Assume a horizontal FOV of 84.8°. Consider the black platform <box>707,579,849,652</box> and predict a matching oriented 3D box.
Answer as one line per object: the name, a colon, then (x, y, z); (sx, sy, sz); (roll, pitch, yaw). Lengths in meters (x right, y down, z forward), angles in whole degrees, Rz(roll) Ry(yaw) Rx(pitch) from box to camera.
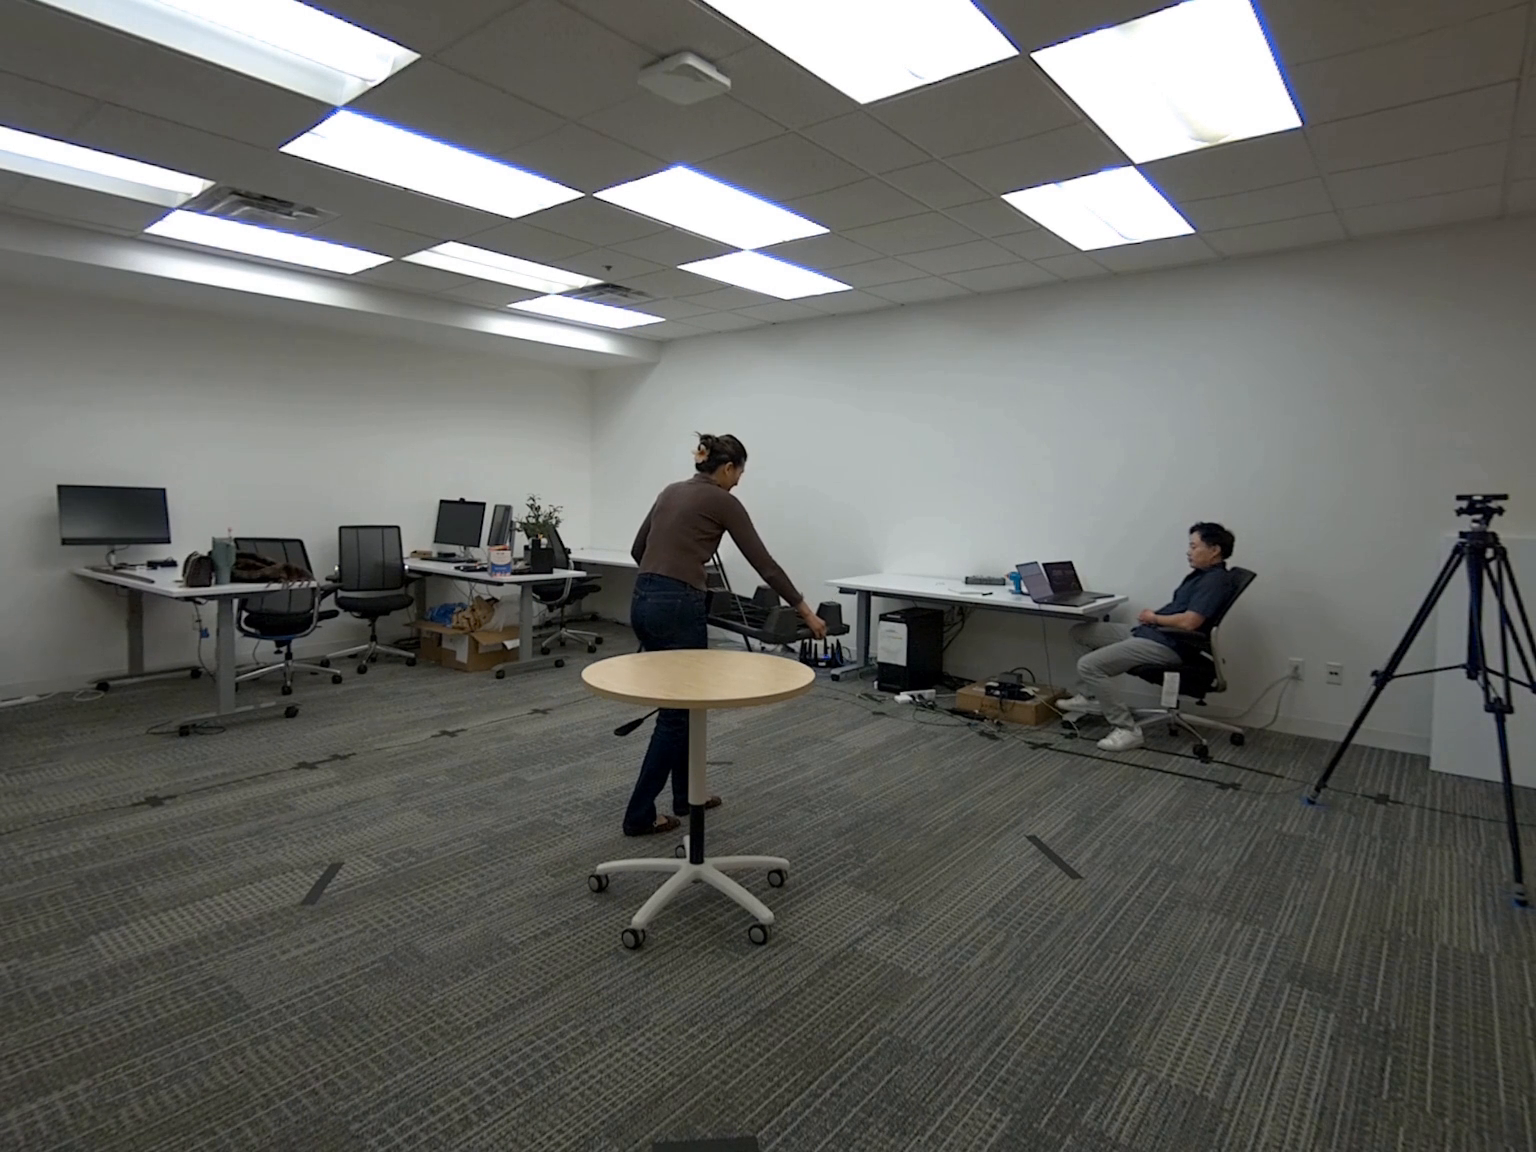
black platform: (-0.127, 0.116, 3.783); (0.835, 0.142, 0.587); (14, 10, 36)
